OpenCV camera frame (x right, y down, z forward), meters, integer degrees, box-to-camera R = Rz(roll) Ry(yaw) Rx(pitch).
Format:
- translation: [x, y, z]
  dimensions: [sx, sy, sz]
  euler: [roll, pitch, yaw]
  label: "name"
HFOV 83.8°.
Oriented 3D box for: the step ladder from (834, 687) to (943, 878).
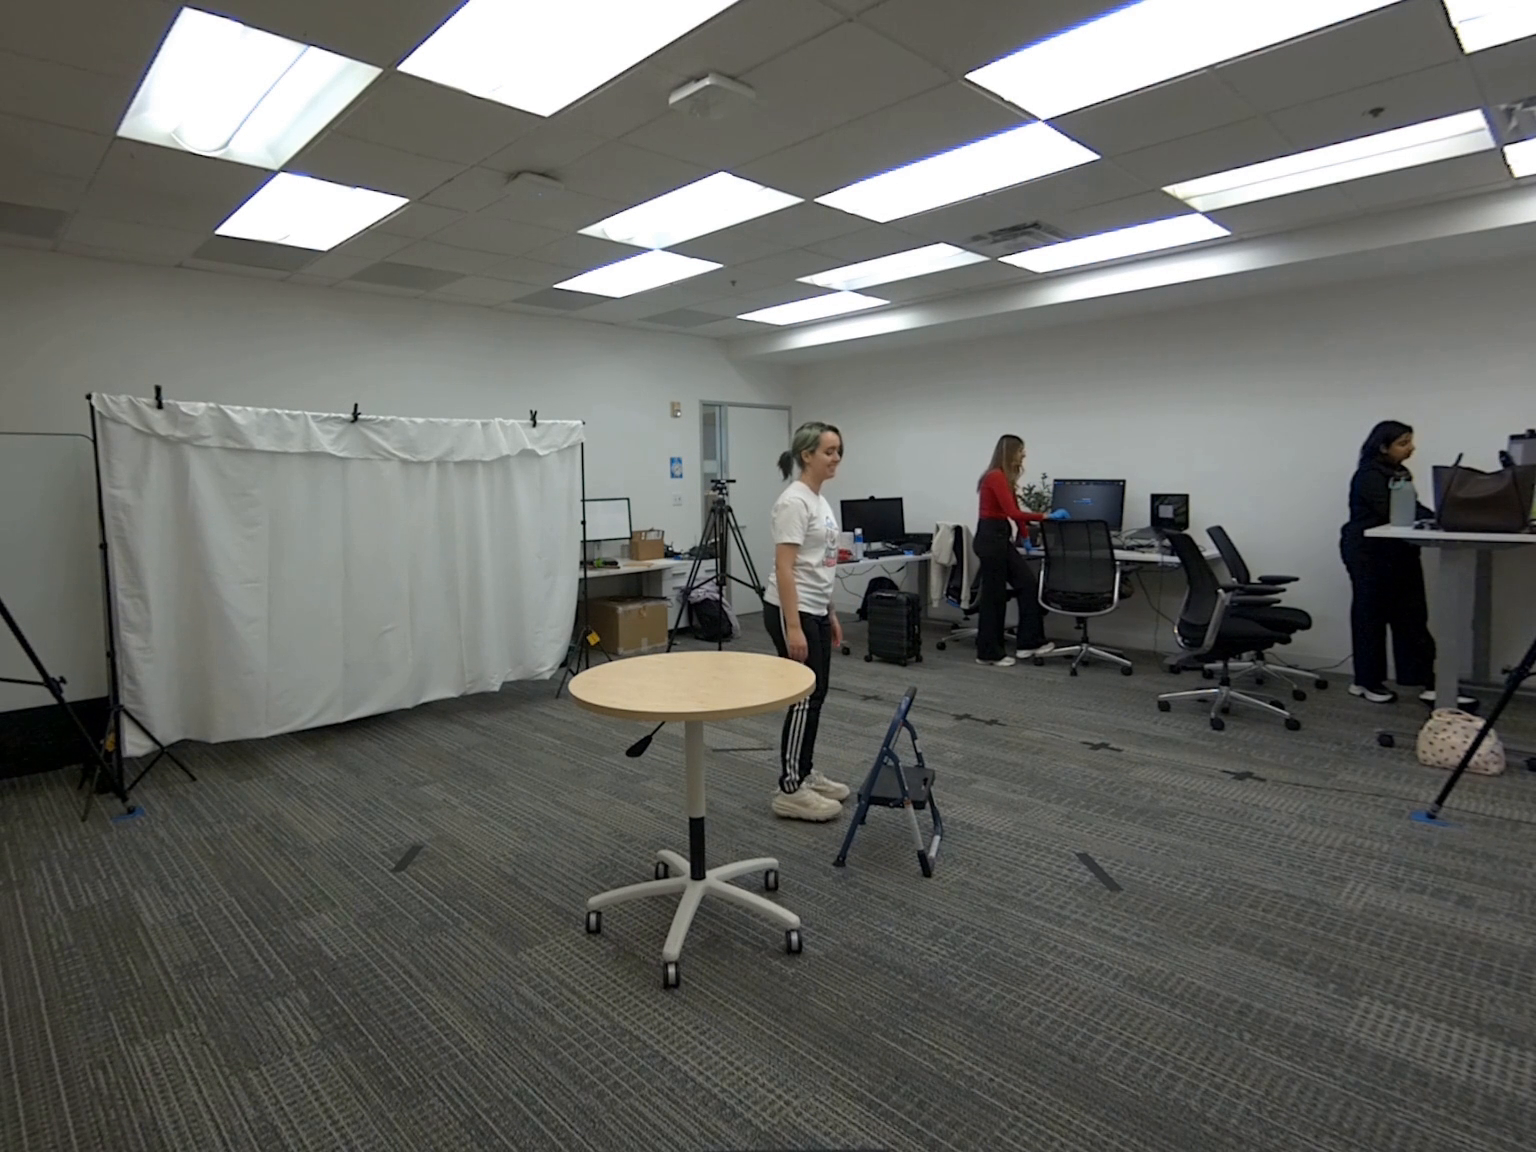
- translation: [0.458, 0.724, 3.200]
  dimensions: [0.356, 0.604, 0.424]
  euler: [0, 4, 19]
  label: "step ladder"
